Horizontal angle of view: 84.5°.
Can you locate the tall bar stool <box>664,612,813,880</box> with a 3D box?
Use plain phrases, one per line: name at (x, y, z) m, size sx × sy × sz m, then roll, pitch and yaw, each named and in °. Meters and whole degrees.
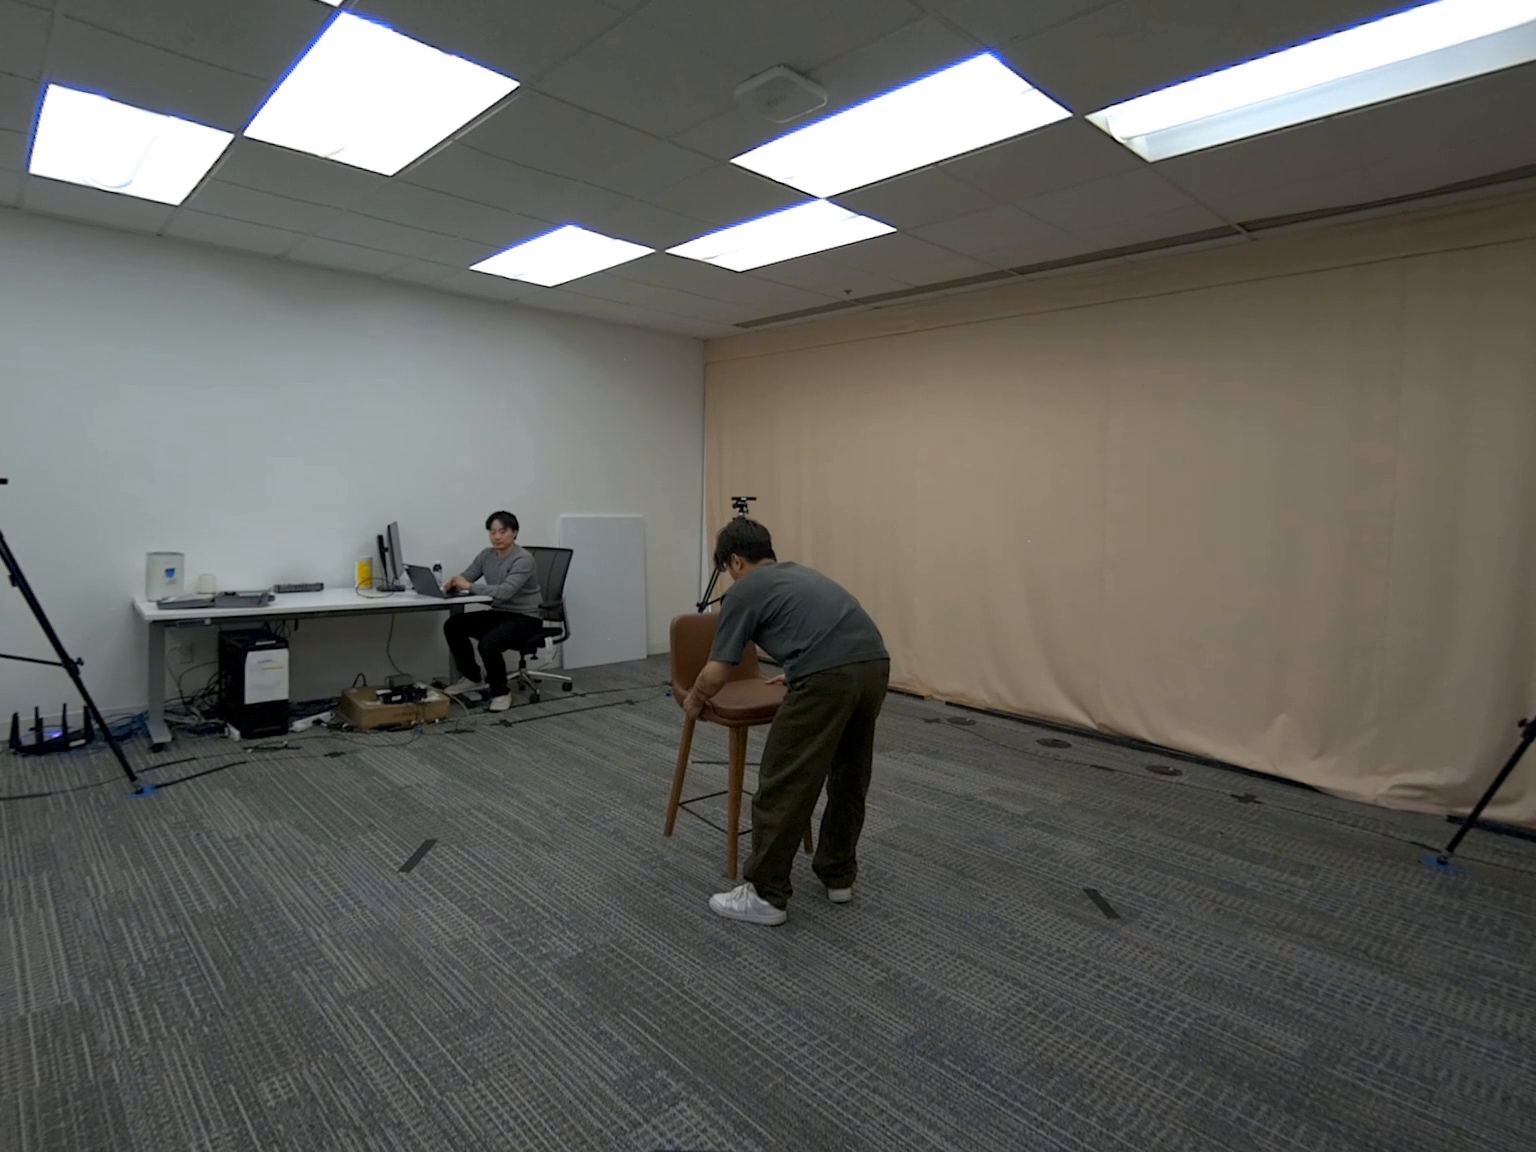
tall bar stool at (-0.116, 0.612, 3.233) m, size 0.446 × 0.888 × 0.479 m, roll -1°, pitch 4°, yaw -40°
